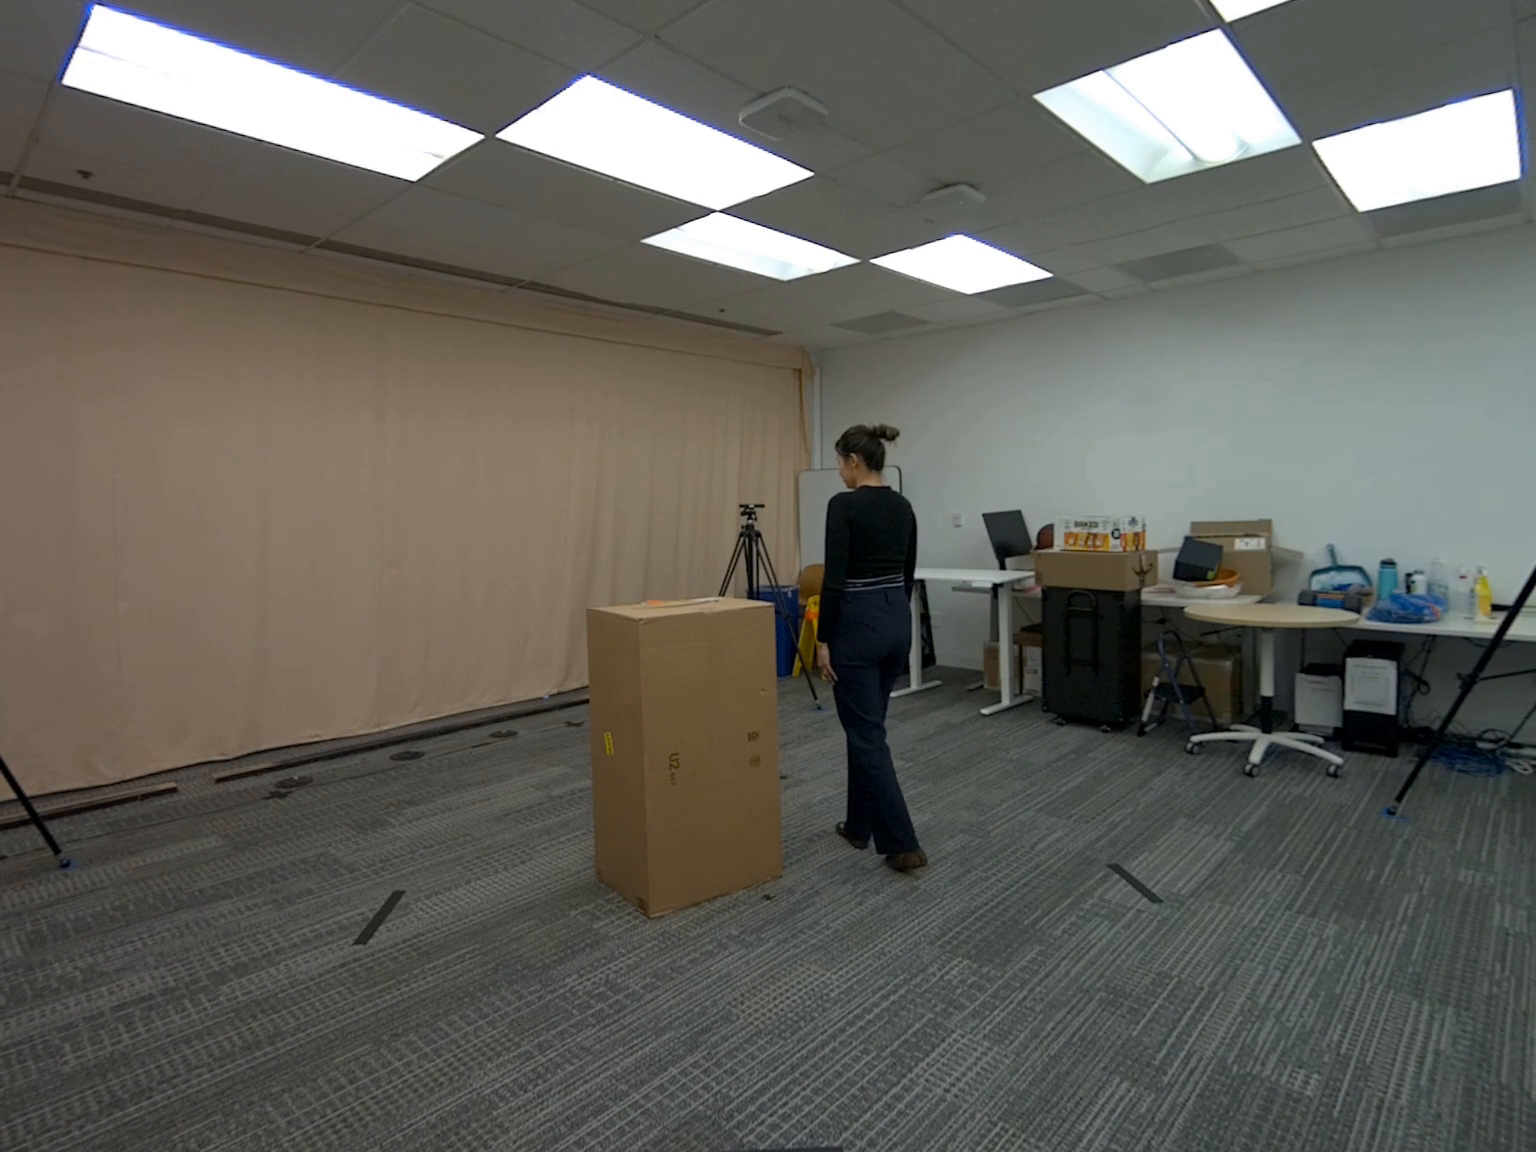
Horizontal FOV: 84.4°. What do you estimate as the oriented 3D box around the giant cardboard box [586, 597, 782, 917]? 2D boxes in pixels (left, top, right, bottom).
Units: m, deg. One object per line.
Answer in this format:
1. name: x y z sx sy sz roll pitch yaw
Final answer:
1. giant cardboard box: -0.312 0.623 3.144 0.561 1.024 0.439 -4 4 -35
